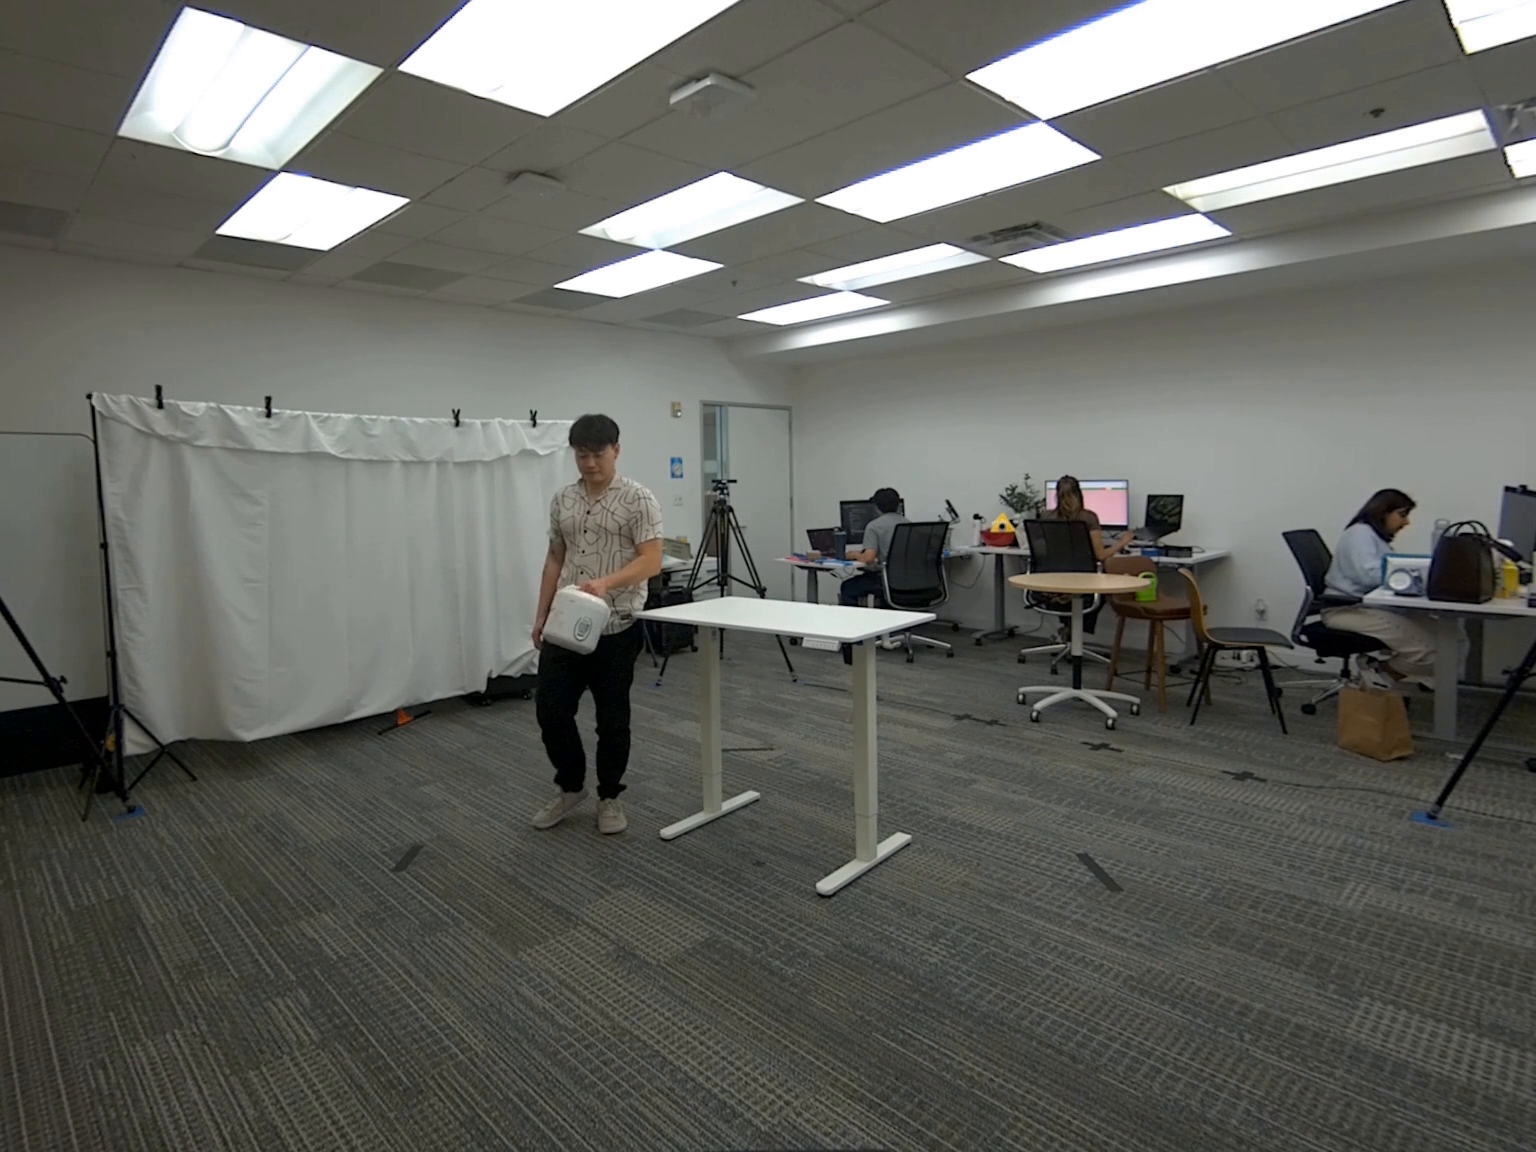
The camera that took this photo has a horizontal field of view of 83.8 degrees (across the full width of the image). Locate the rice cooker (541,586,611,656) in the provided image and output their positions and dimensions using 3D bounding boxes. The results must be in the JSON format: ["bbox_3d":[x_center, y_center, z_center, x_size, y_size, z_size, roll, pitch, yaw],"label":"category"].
[{"bbox_3d":[-0.712,0.160,3.189,0.214,0.234,0.222,22,-13,-27],"label":"rice cooker"}]
